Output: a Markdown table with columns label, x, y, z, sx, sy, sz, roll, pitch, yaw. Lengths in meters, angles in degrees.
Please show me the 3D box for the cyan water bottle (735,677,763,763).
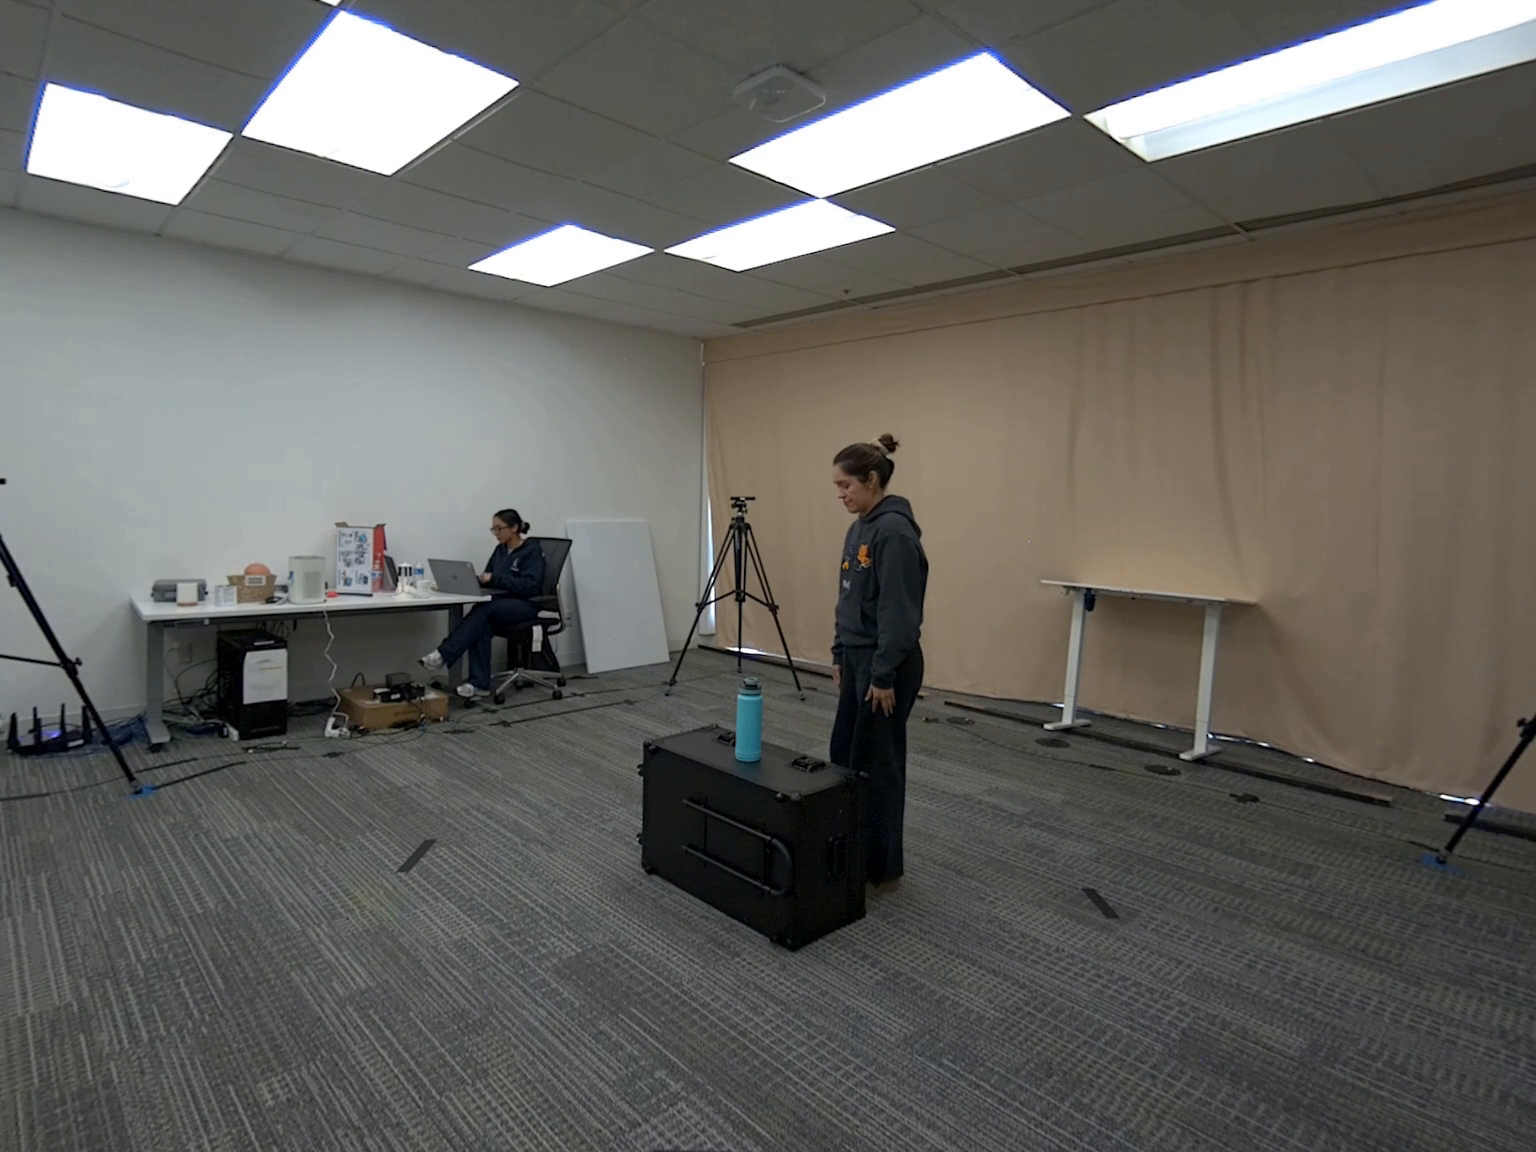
| label | x | y | z | sx | sy | sz | roll | pitch | yaw |
| --- | --- | --- | --- | --- | --- | --- | --- | --- | --- |
| cyan water bottle | -0.071 | 0.494 | 2.961 | 0.092 | 0.283 | 0.092 | 1 | 3 | -1 |
